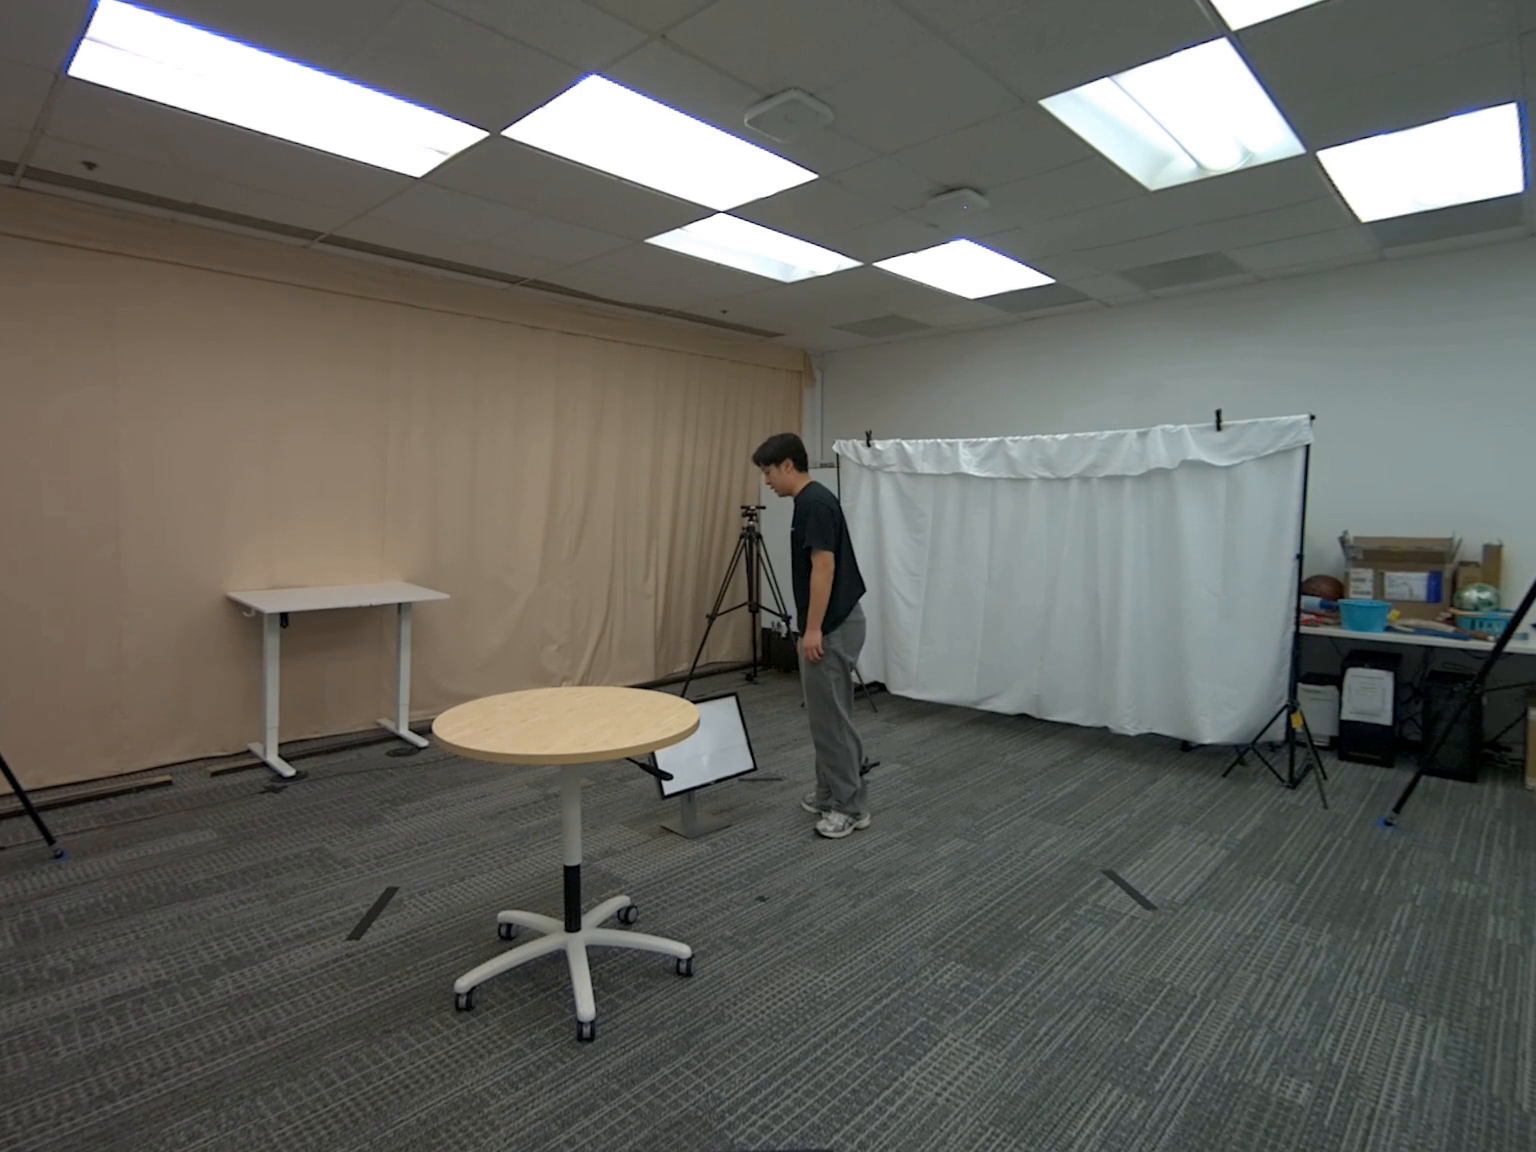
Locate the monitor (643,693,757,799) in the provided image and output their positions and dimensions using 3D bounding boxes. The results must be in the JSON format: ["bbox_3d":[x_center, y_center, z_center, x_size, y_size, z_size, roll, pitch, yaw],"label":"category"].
[{"bbox_3d":[-0.309,0.828,3.666,0.544,0.565,0.229,-4,3,-44],"label":"monitor"}]
